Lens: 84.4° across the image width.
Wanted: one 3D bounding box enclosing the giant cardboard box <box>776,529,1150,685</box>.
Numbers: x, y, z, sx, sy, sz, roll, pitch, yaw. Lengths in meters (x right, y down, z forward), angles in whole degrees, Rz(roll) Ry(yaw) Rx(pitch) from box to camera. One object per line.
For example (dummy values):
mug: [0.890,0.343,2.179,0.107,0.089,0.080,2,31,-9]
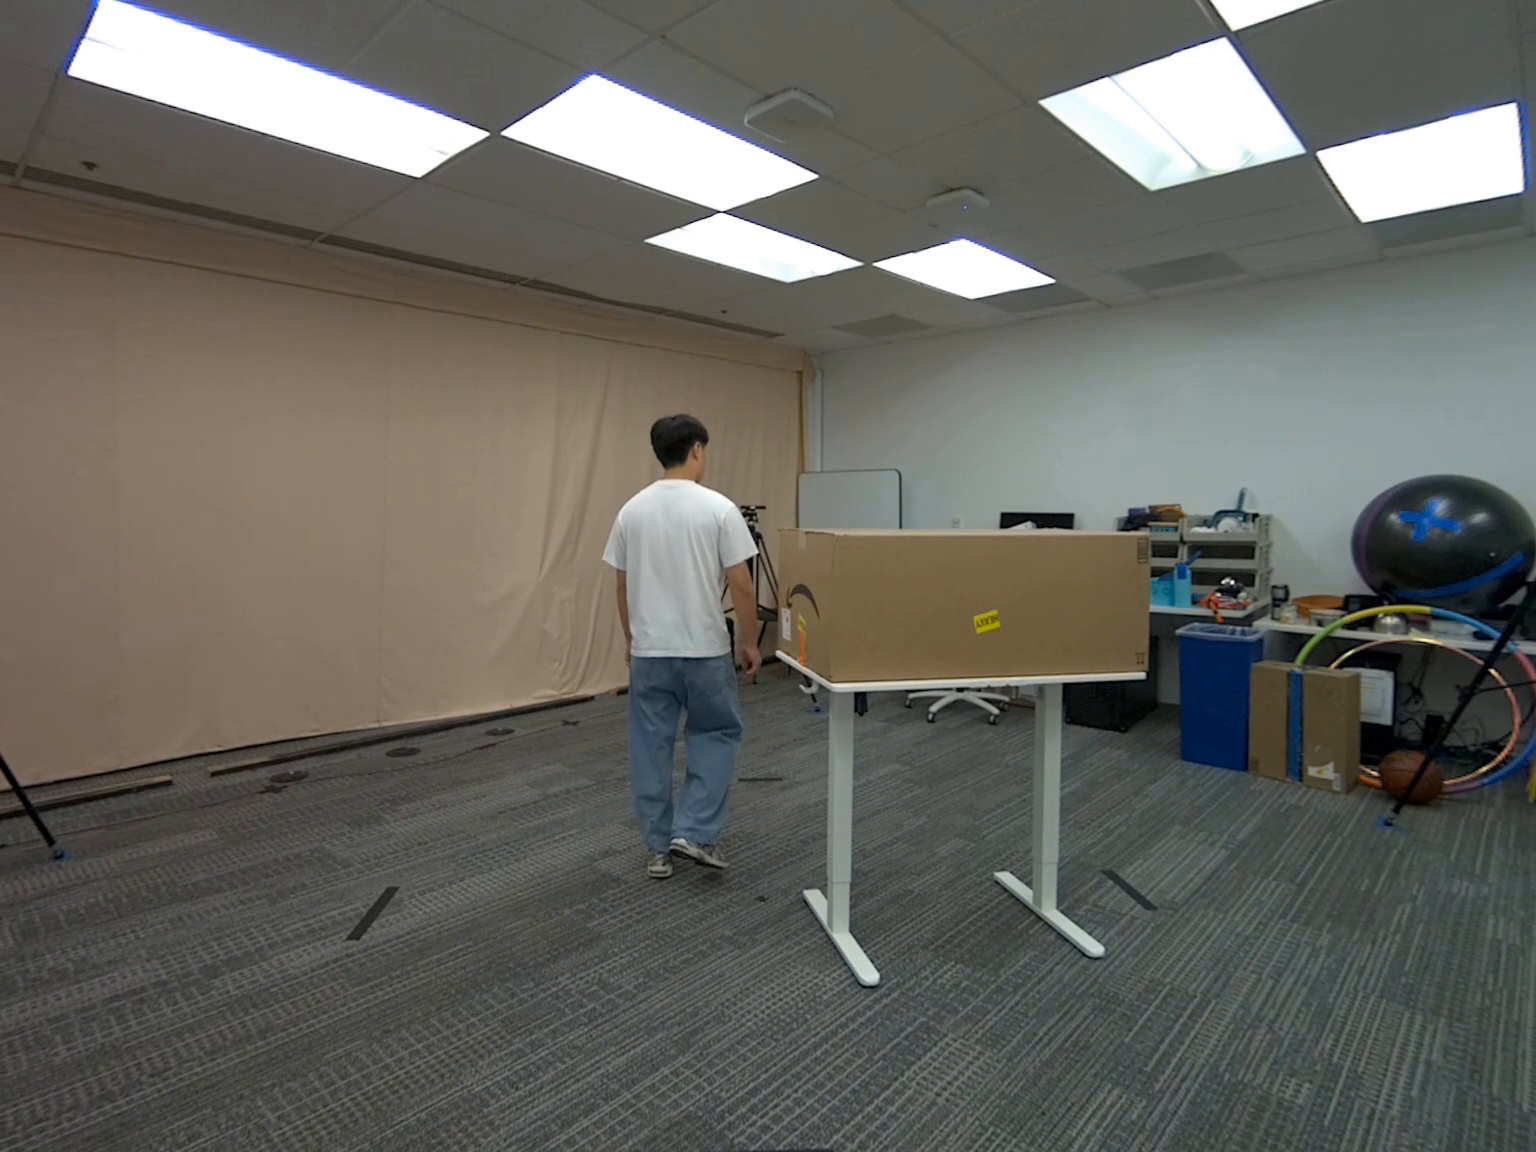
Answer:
giant cardboard box: [0.604,0.066,2.756,1.012,0.425,0.586,0,3,-13]
